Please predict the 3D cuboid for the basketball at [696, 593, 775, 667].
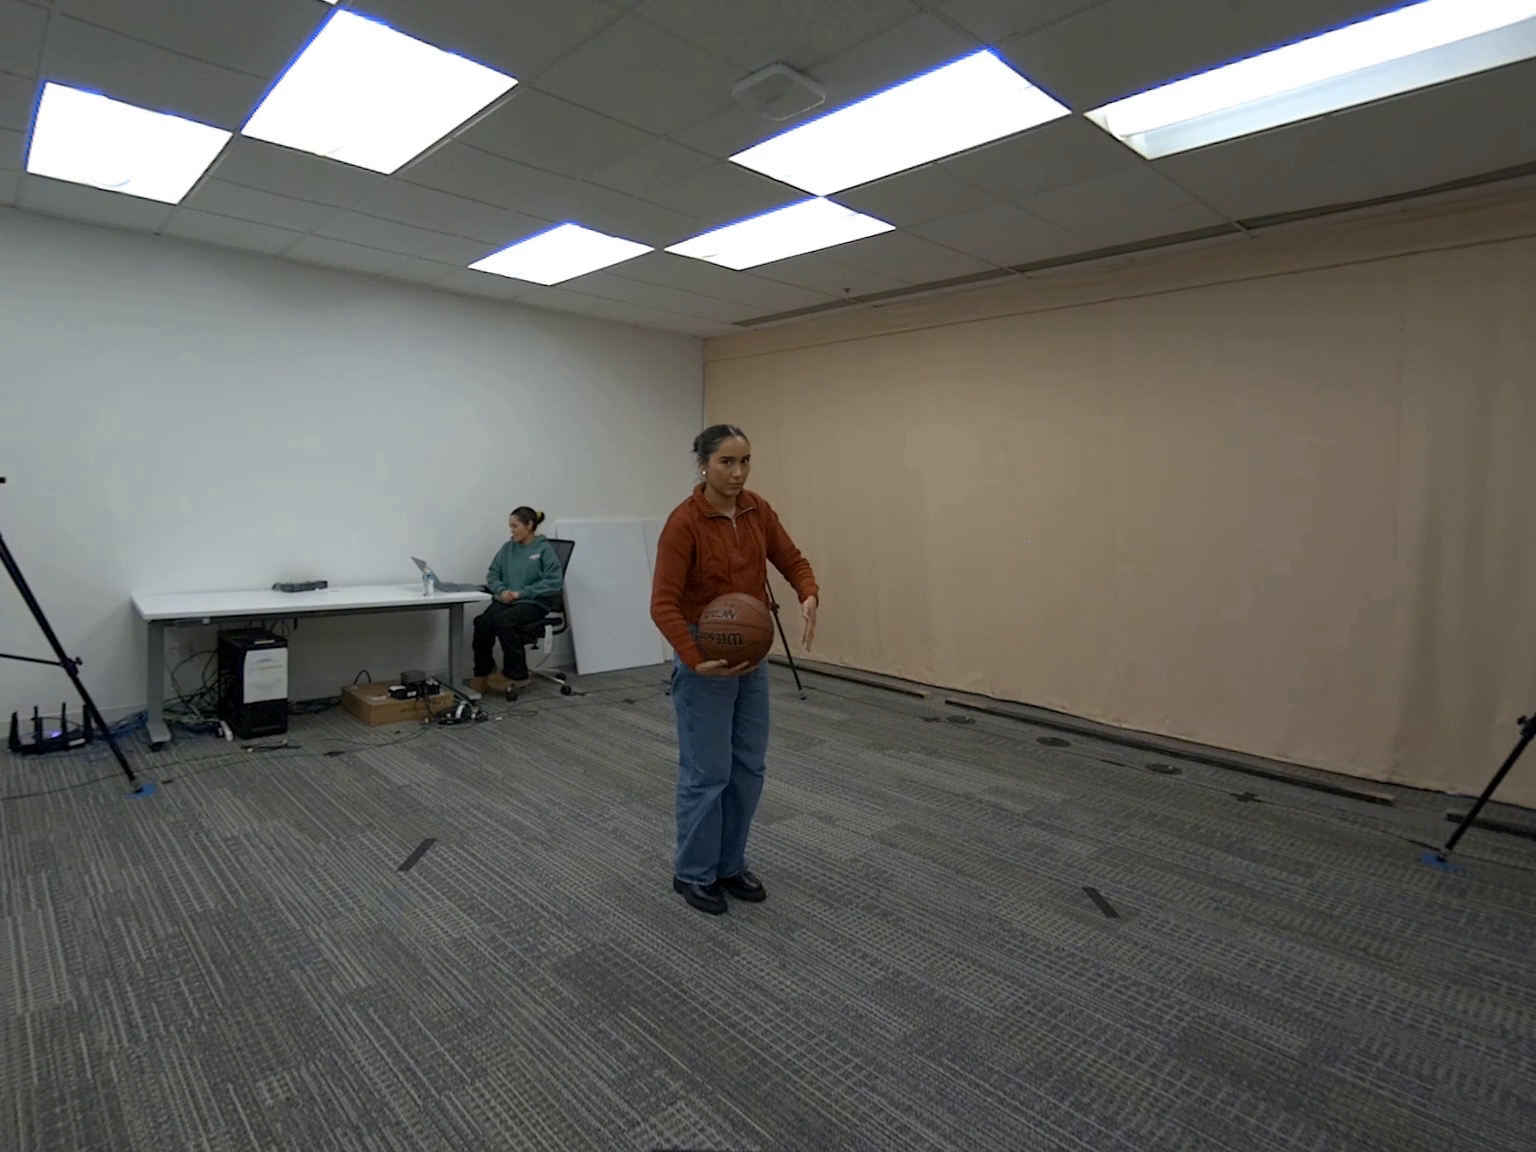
[{"bbox_3d":[-0.114,0.168,2.604,0.236,0.235,0.237,1,4,-1],"label":"basketball"}]
